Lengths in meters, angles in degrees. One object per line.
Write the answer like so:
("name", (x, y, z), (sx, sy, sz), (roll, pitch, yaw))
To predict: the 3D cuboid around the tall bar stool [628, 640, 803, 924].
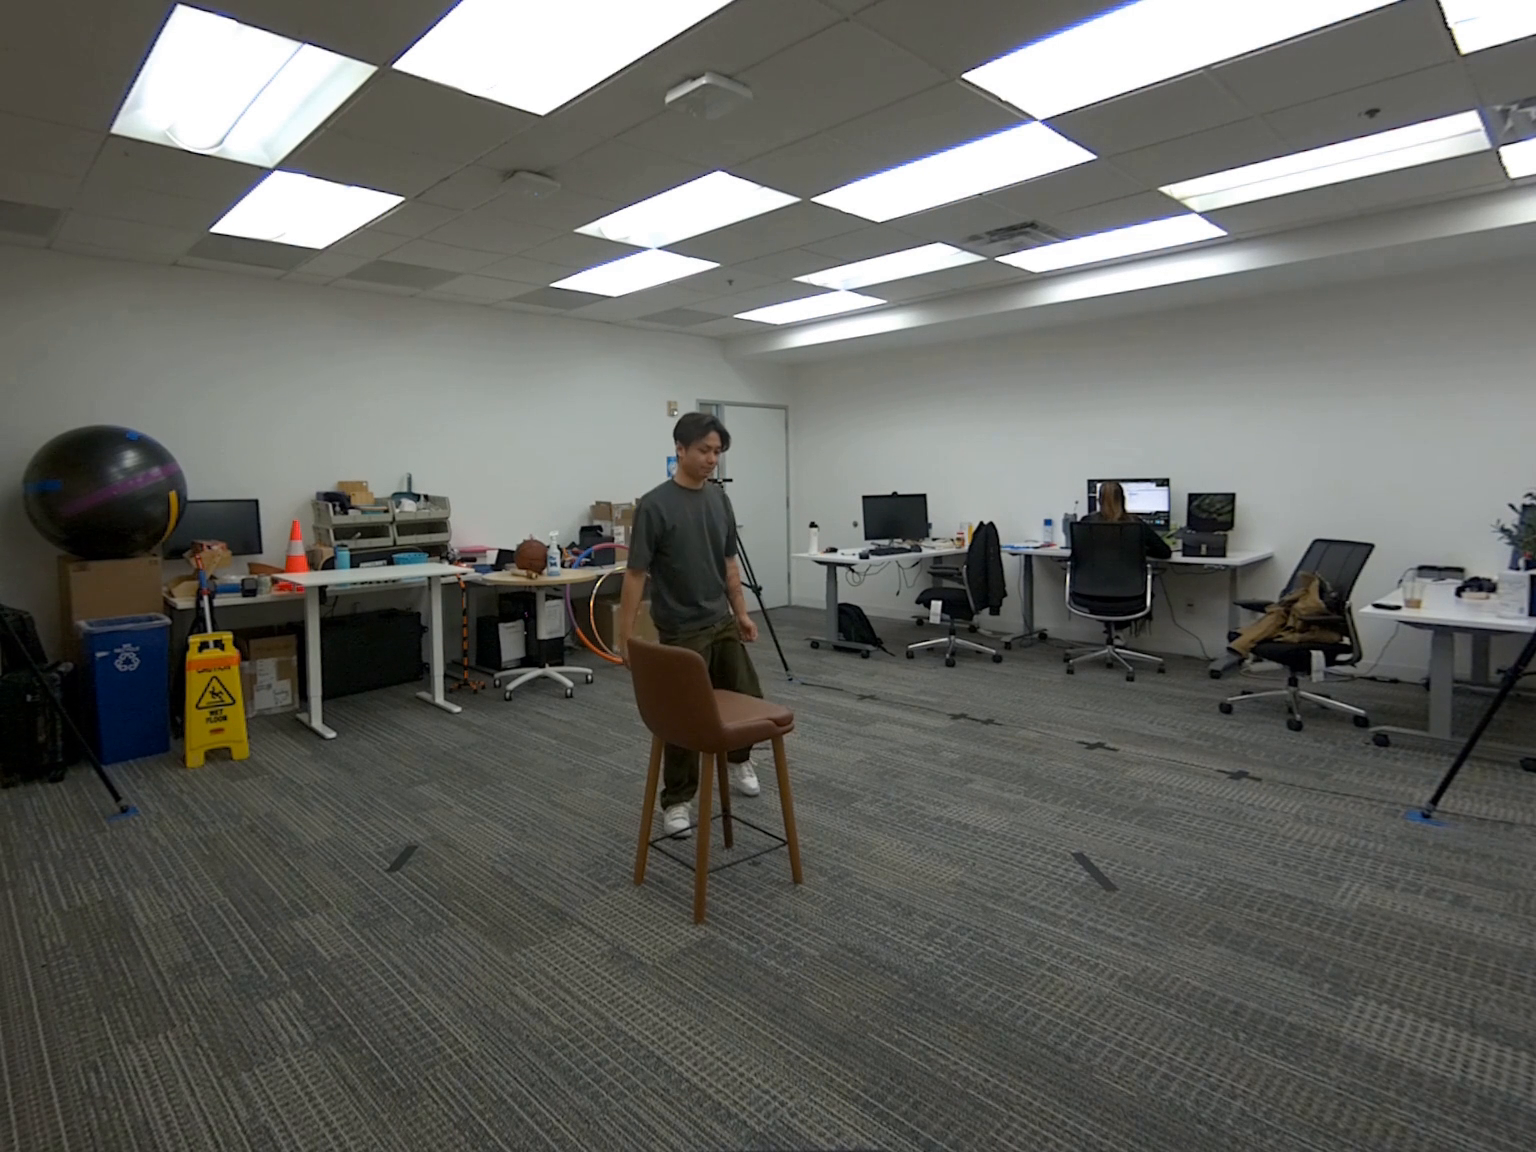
("tall bar stool", (-0.189, 0.634, 2.936), (0.456, 0.885, 0.470), (-7, 7, -40))
